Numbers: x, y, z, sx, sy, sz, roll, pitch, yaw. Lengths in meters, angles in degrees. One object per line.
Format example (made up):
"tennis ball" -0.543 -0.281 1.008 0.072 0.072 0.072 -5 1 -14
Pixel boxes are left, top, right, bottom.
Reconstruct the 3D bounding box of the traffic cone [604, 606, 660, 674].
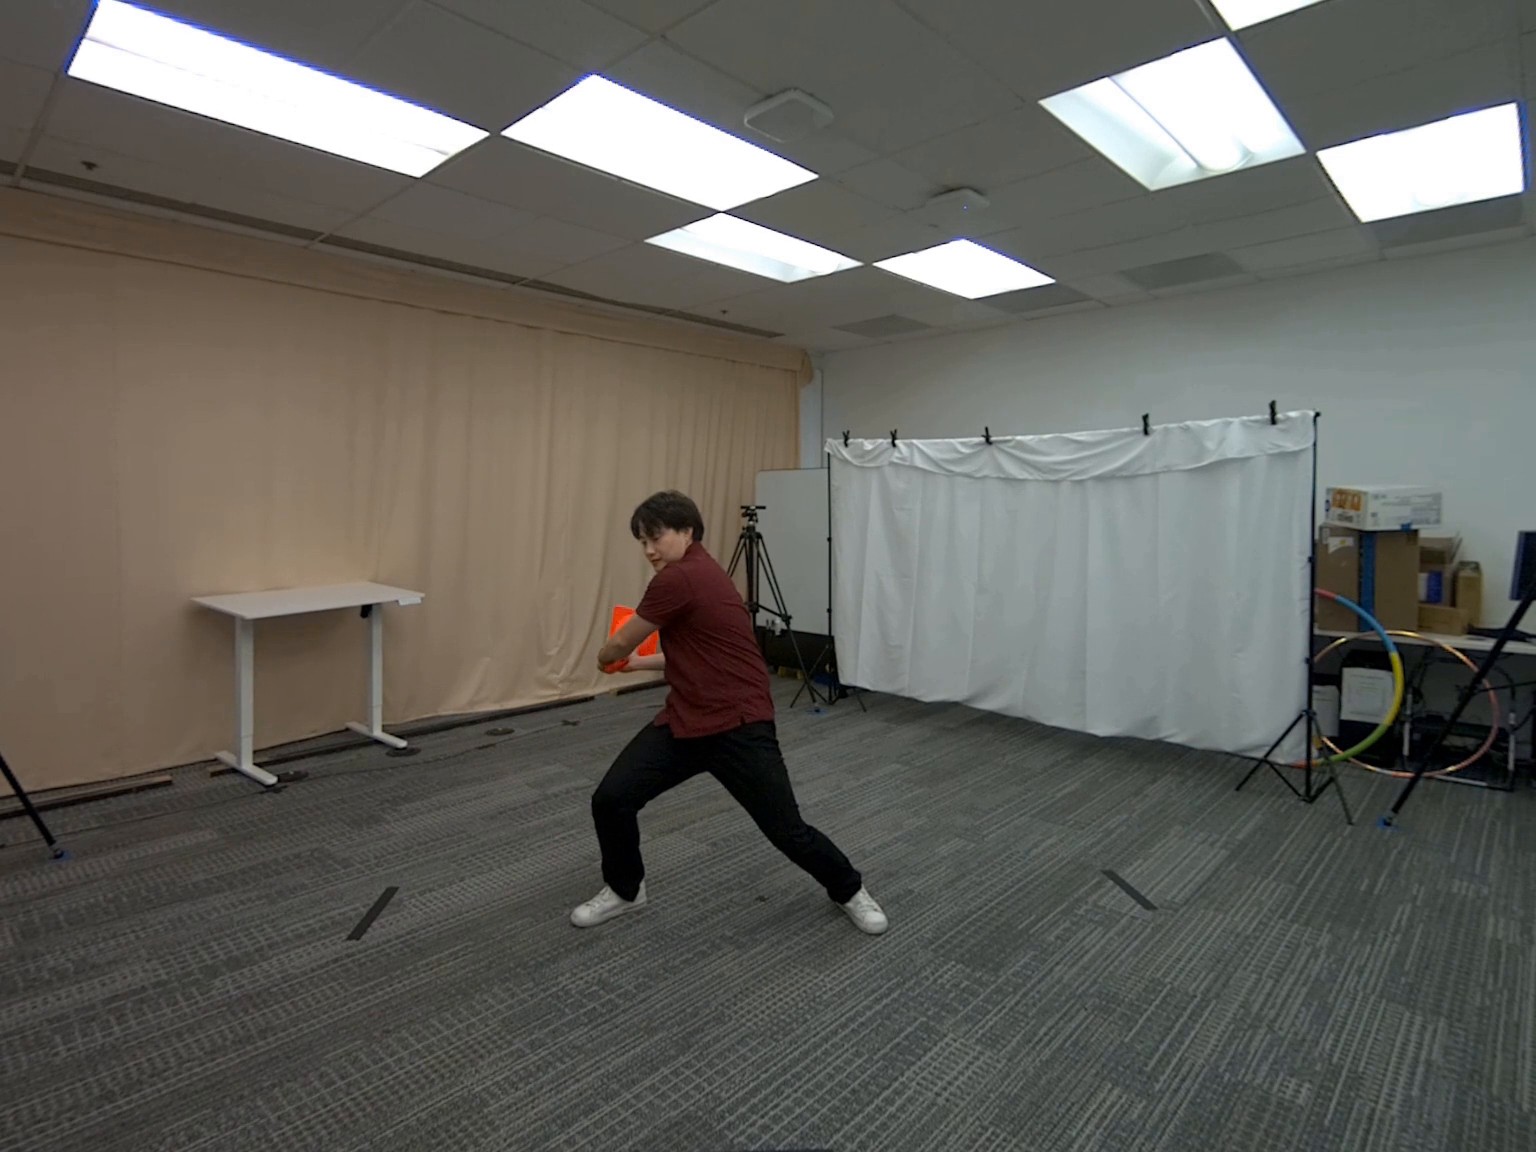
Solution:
"traffic cone" -0.565 0.290 3.203 0.204 0.202 0.387 -9 17 3
